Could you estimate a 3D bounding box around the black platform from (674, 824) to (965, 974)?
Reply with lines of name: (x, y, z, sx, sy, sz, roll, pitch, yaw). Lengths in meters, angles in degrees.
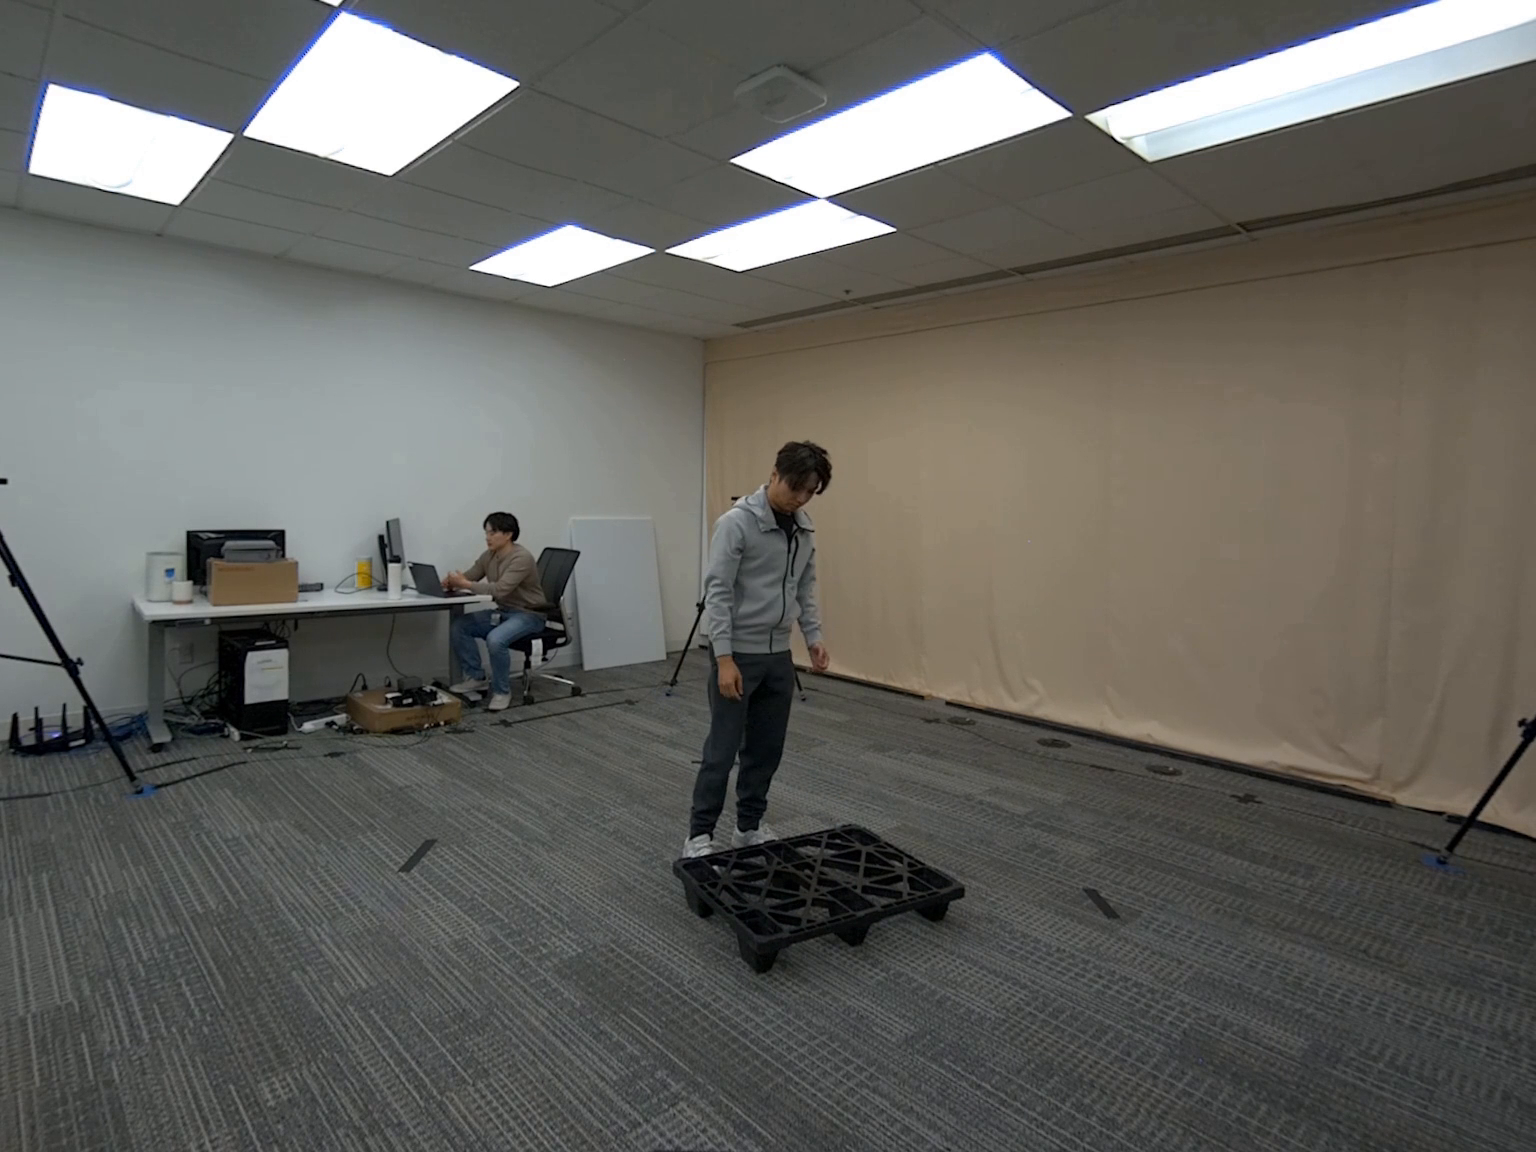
black platform: (0.148, 1.073, 2.841, 0.789, 0.143, 0.619, -2, 5, -30)
